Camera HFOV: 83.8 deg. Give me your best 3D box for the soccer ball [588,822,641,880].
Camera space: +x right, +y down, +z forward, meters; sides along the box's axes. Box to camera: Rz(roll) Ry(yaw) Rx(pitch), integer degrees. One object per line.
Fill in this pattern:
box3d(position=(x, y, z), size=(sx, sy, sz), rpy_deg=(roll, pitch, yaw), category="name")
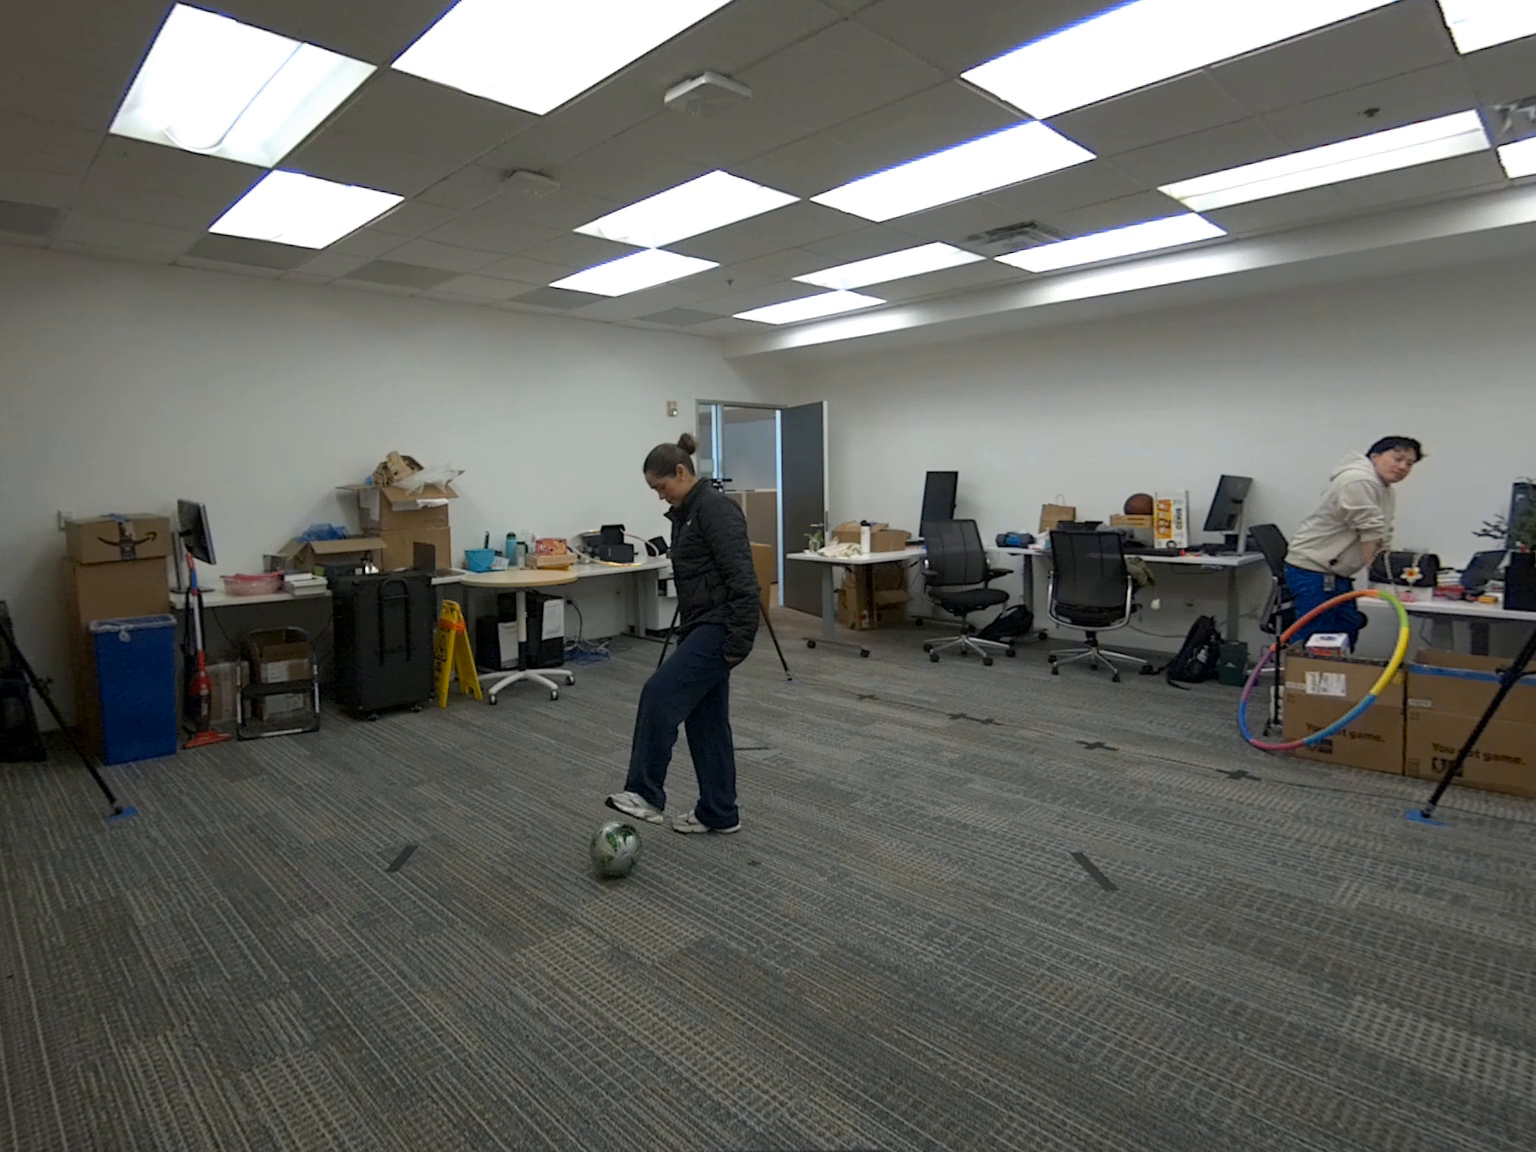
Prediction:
box3d(position=(-0.536, 0.968, 3.034), size=(0.187, 0.187, 0.188), rpy_deg=(-1, 5, -2), category="soccer ball")
